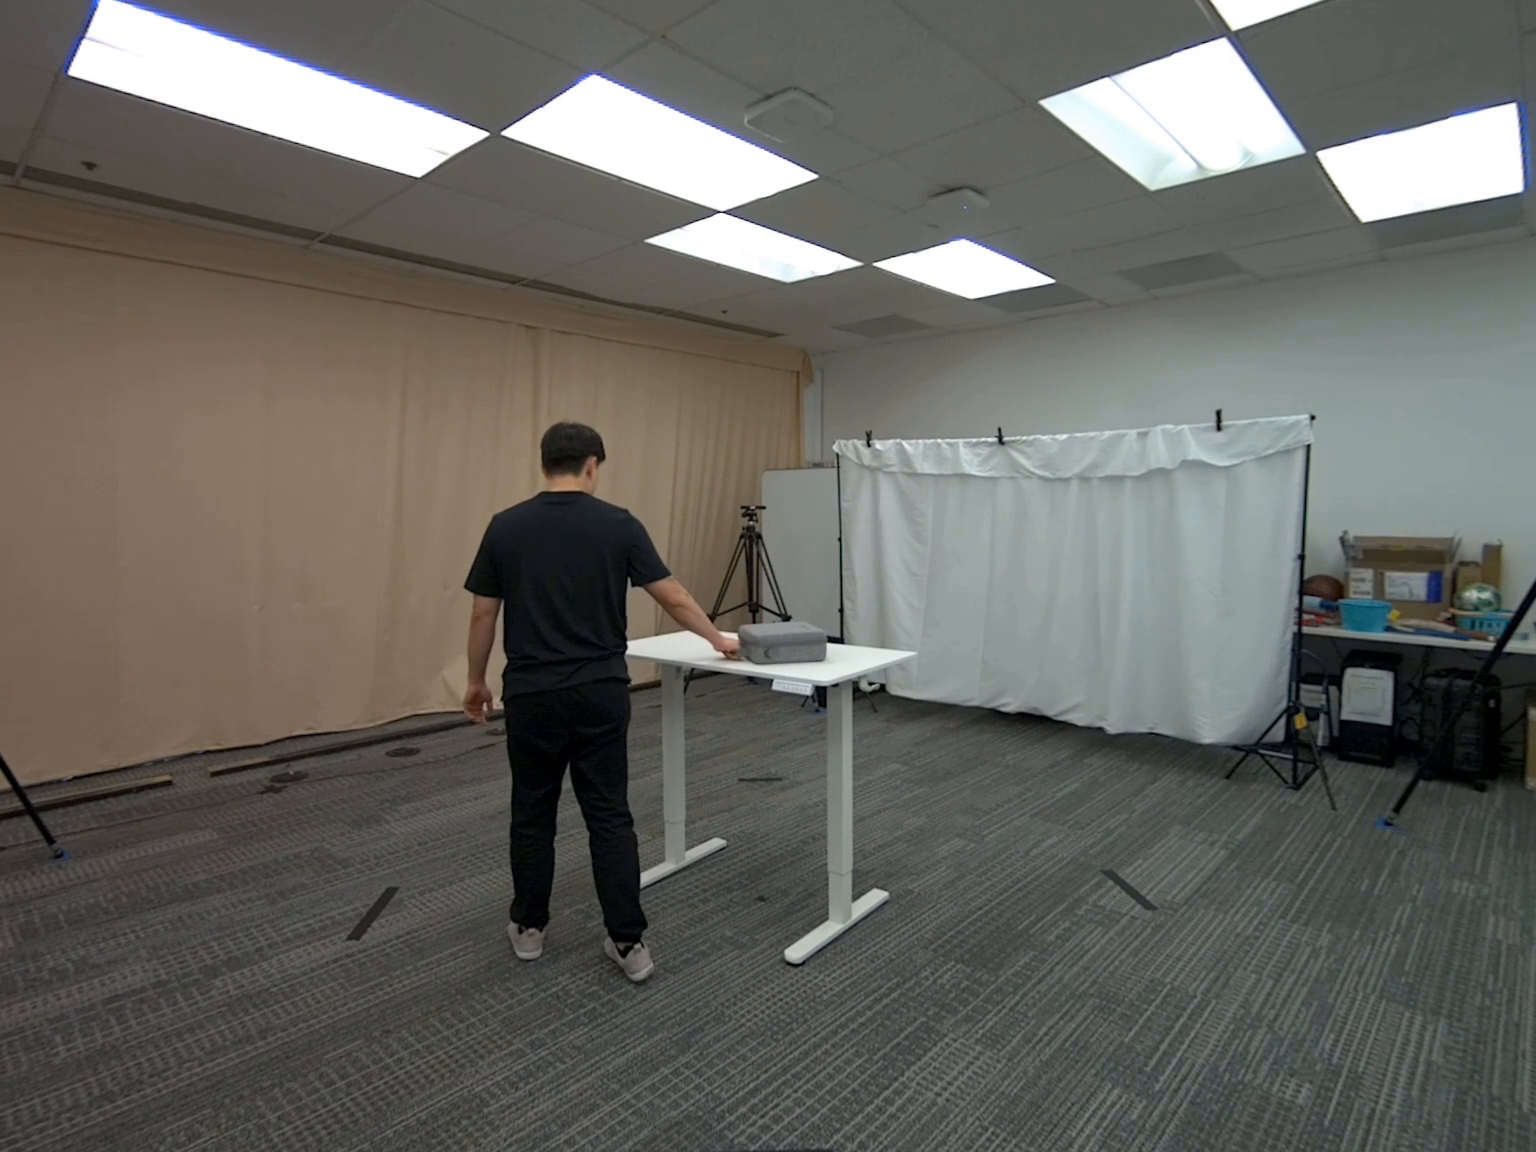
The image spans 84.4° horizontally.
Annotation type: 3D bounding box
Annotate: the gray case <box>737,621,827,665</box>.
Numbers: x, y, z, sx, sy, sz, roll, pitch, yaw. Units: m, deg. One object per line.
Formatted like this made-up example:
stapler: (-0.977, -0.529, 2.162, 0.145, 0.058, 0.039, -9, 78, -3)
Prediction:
gray case: (0.043, 0.220, 2.816, 0.257, 0.104, 0.261, -3, 6, -13)
